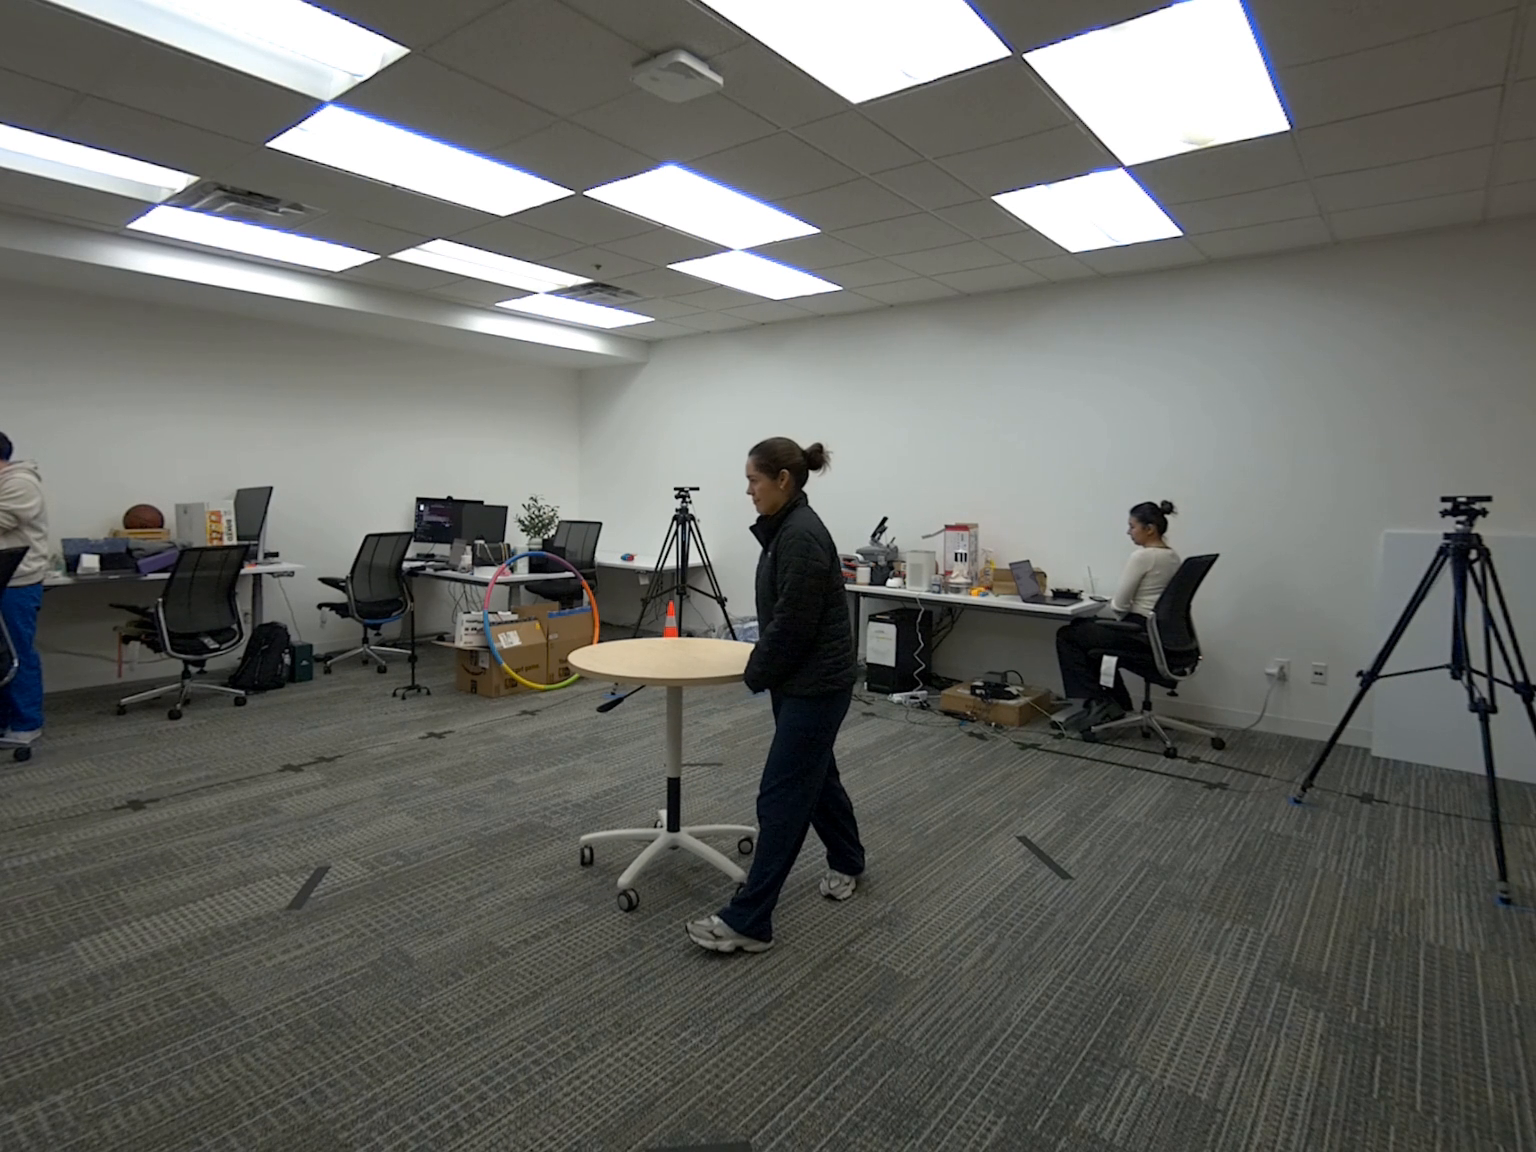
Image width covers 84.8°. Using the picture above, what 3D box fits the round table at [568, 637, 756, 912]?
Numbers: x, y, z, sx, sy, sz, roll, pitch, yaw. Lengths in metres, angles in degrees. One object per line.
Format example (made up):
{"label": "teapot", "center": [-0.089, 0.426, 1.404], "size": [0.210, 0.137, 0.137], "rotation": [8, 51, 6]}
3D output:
{"label": "round table", "center": [-0.343, 0.671, 3.107], "size": [0.784, 0.784, 0.788], "rotation": [1, 4, -2]}
